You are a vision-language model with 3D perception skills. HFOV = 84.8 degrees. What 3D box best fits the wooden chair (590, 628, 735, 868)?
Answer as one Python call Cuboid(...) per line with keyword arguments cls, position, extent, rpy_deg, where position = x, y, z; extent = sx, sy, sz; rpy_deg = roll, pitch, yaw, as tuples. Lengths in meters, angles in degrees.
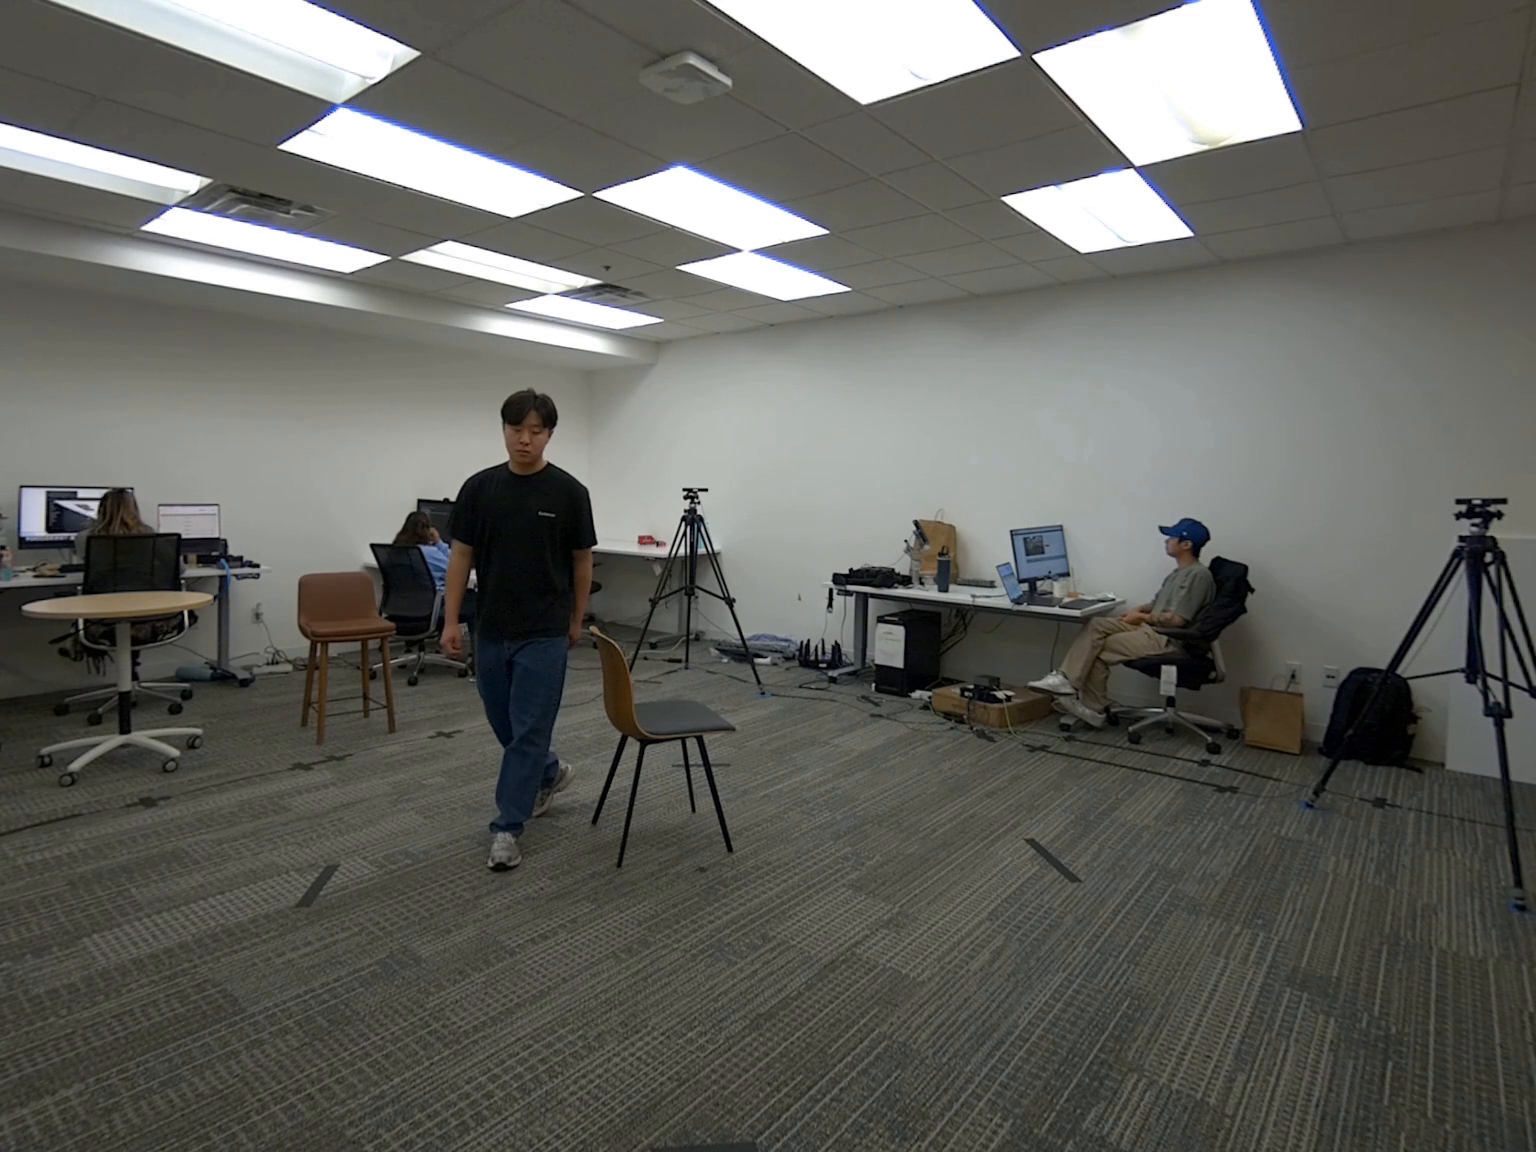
Cuboid(cls="wooden chair", position=(-0.428, 0.618, 3.359), extent=(0.513, 0.874, 0.490), rpy_deg=(-5, 5, -22))
